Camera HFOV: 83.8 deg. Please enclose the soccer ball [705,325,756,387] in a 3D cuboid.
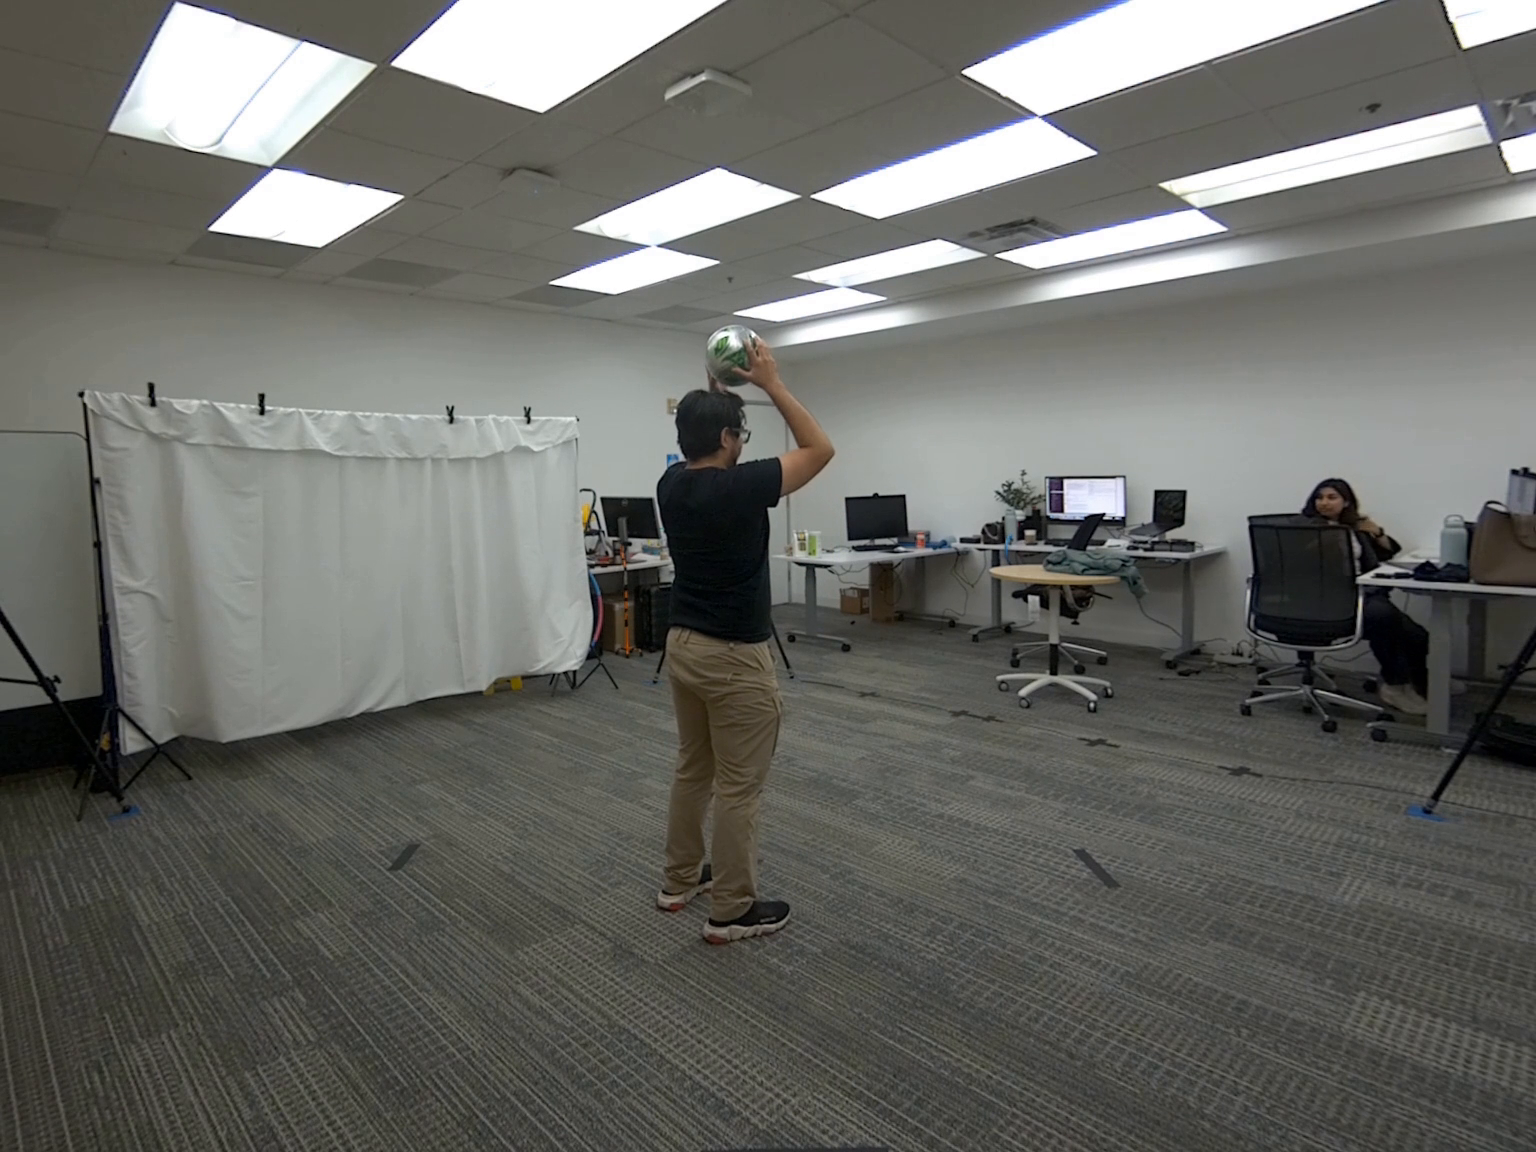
[{"bbox_3d":[-0.097,-0.685,2.658,0.187,0.187,0.188,-1,5,-2],"label":"soccer ball"}]
